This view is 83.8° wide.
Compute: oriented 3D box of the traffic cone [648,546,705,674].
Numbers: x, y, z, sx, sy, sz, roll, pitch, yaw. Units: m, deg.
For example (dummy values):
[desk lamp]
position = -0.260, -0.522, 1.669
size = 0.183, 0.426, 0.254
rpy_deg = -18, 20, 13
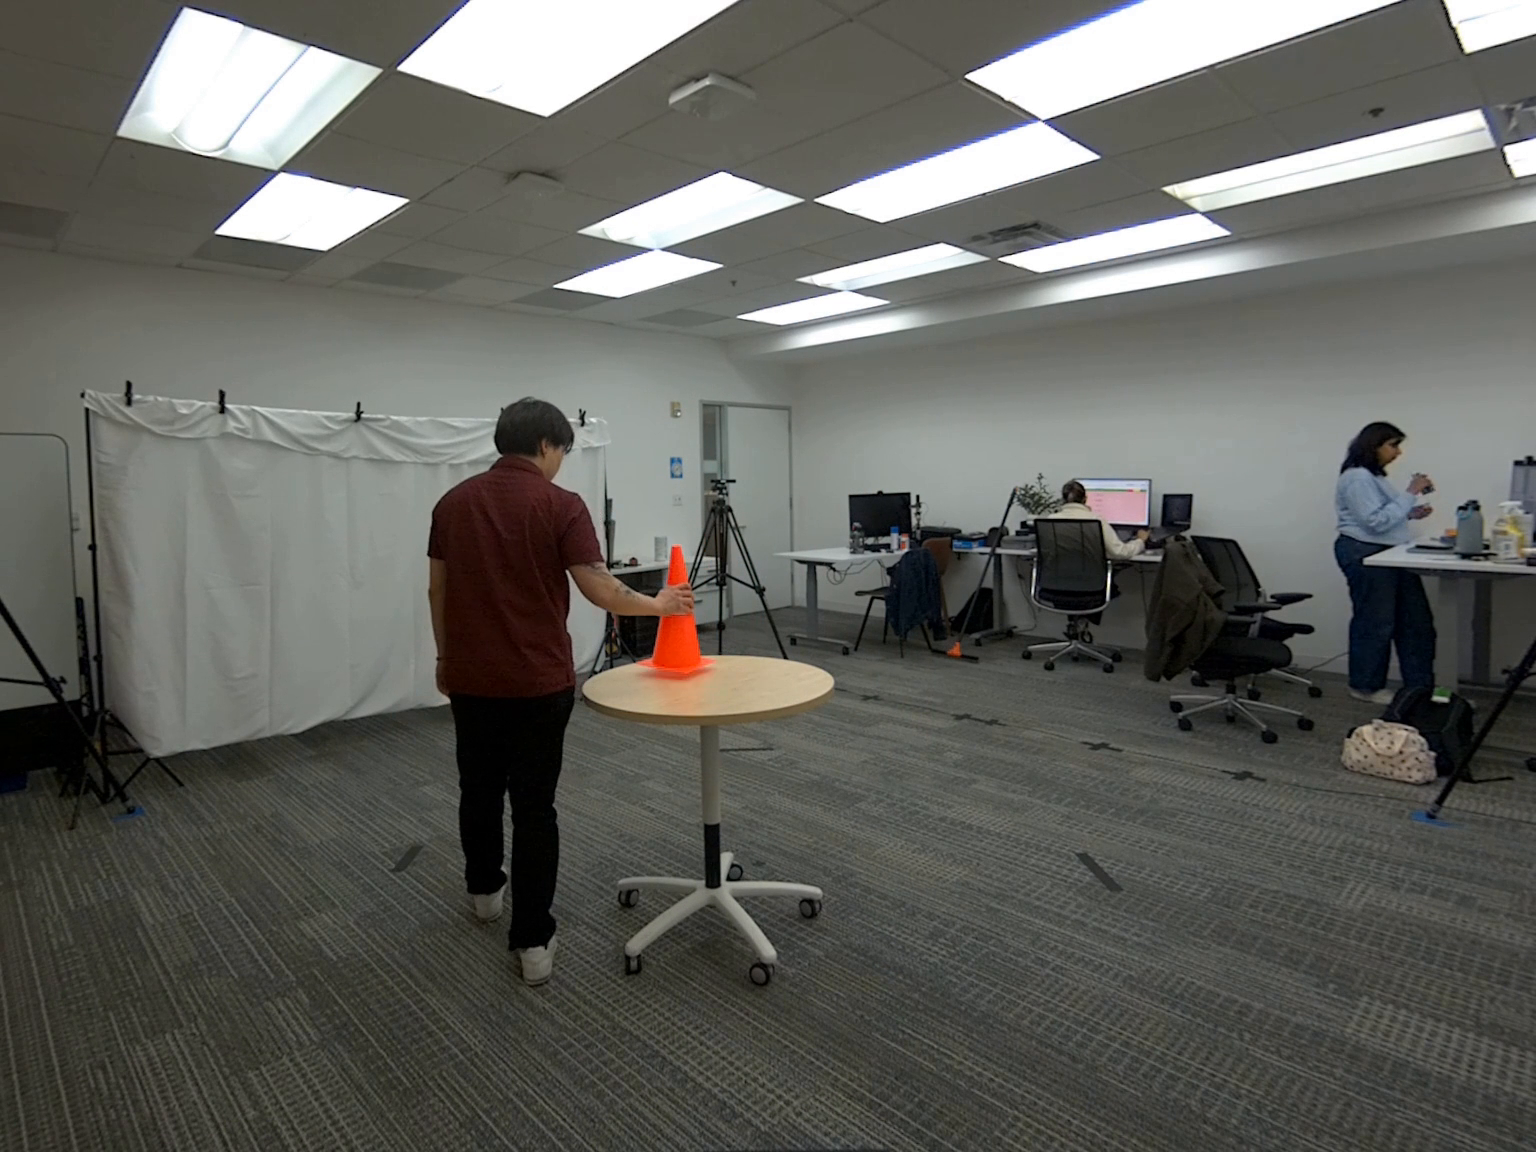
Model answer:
[traffic cone]
position = -0.287, 0.096, 2.727
size = 0.208, 0.382, 0.201
rpy_deg = 2, 6, 26
